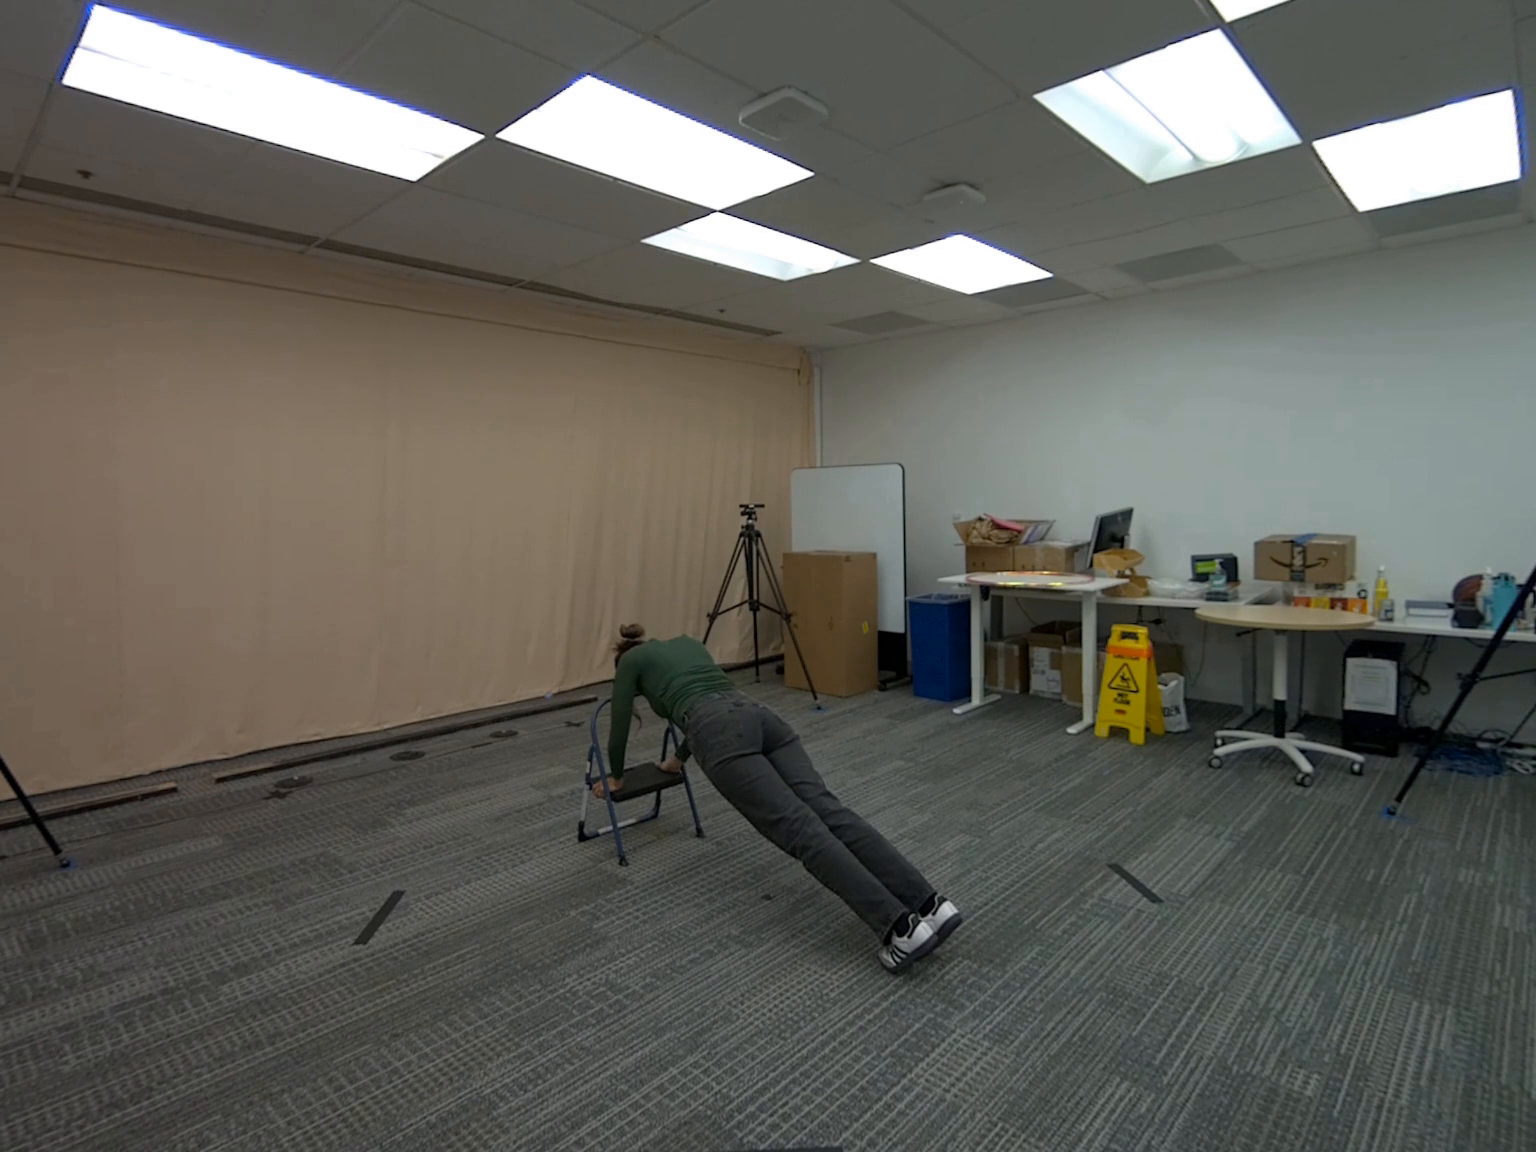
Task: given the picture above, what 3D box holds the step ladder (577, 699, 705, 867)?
[{"bbox_3d":[-0.540,0.805,3.526,0.417,0.605,0.361,-4,4,-43],"label":"step ladder"}]
